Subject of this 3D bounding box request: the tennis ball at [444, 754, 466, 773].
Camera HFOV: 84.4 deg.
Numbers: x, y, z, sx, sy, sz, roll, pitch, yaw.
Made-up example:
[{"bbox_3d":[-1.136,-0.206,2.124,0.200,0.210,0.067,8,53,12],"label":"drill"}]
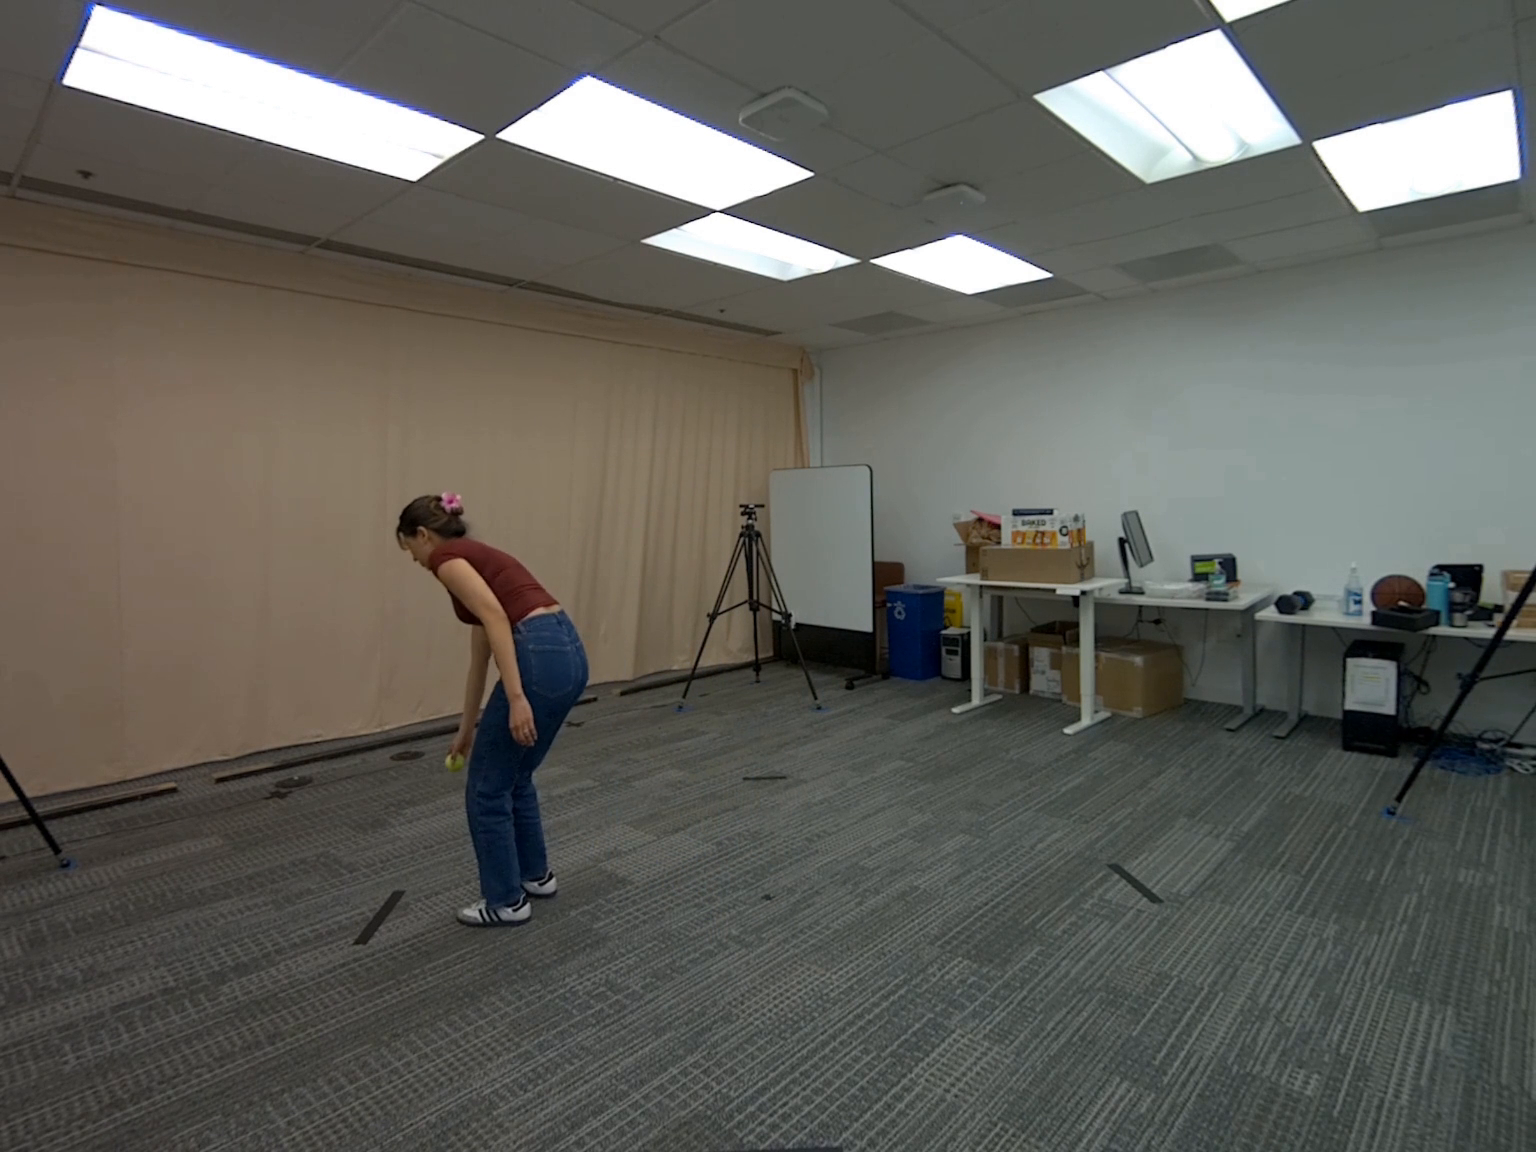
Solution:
[{"bbox_3d":[-1.139,0.671,3.099,0.066,0.066,0.067,-1,4,-2],"label":"tennis ball"}]
